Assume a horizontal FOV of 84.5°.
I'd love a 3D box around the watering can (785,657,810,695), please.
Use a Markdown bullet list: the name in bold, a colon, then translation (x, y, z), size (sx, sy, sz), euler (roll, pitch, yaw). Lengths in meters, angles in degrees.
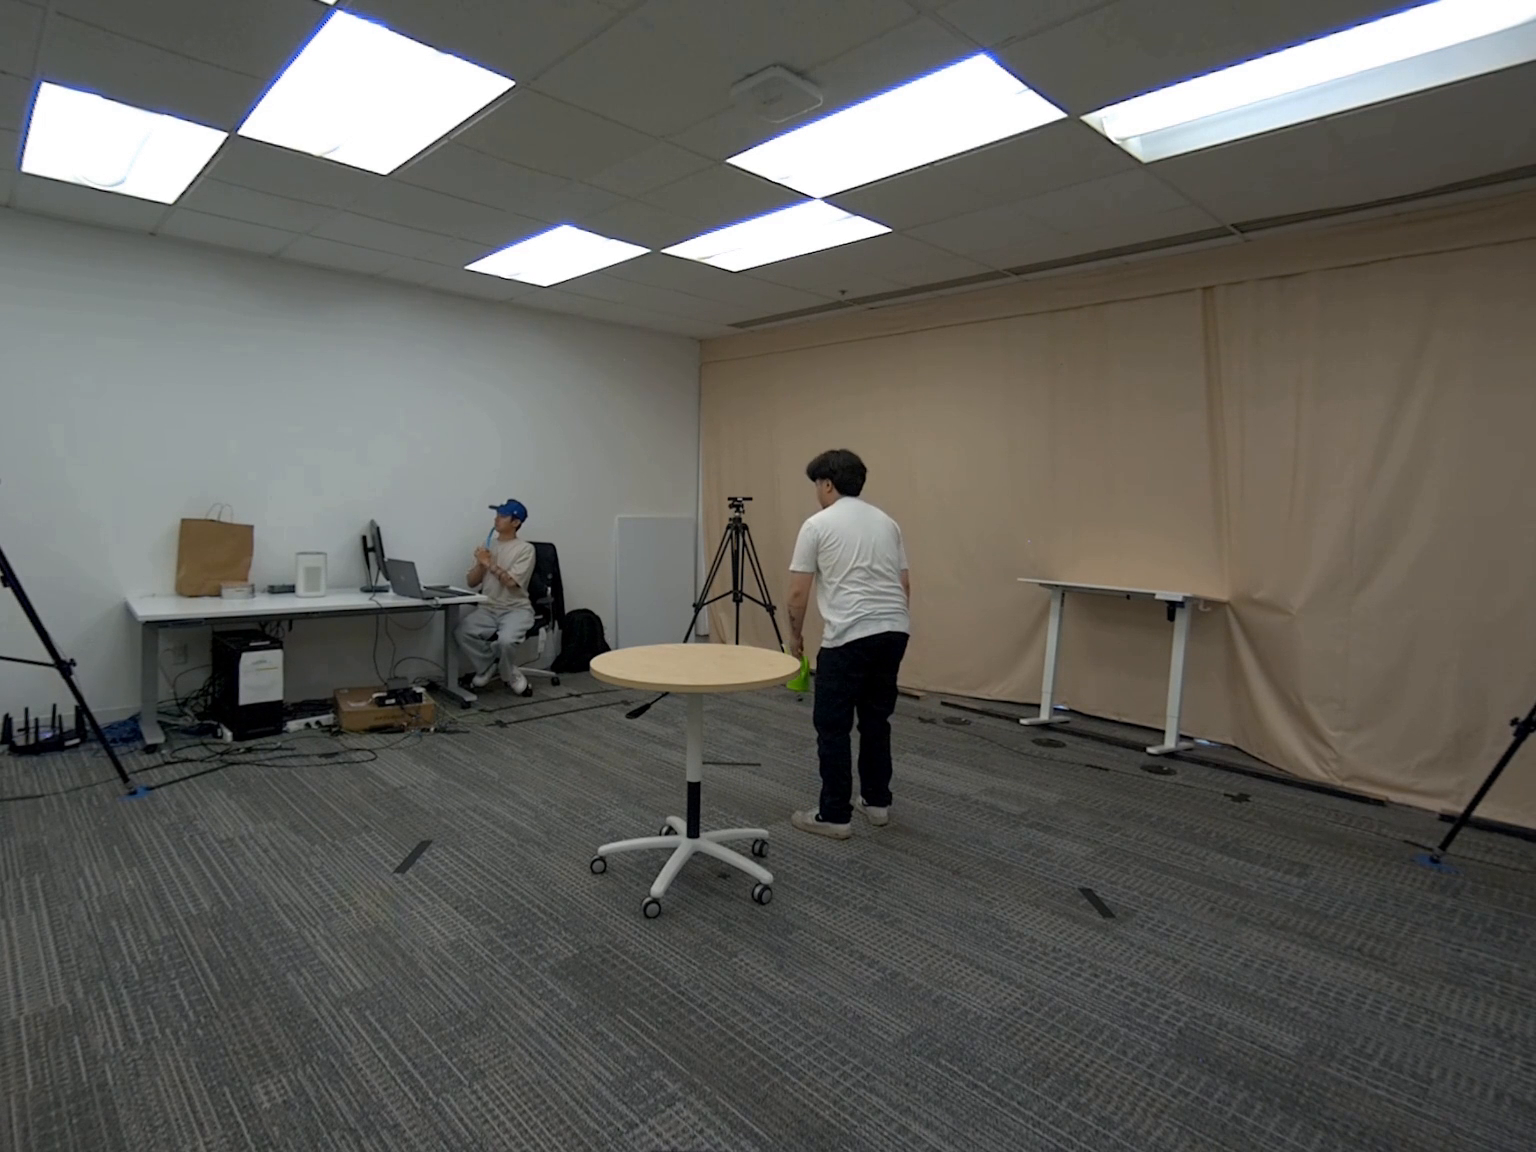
- **watering can**: translation (0.130, 0.420, 3.903), size (0.097, 0.176, 0.280), euler (0, 6, -6)
